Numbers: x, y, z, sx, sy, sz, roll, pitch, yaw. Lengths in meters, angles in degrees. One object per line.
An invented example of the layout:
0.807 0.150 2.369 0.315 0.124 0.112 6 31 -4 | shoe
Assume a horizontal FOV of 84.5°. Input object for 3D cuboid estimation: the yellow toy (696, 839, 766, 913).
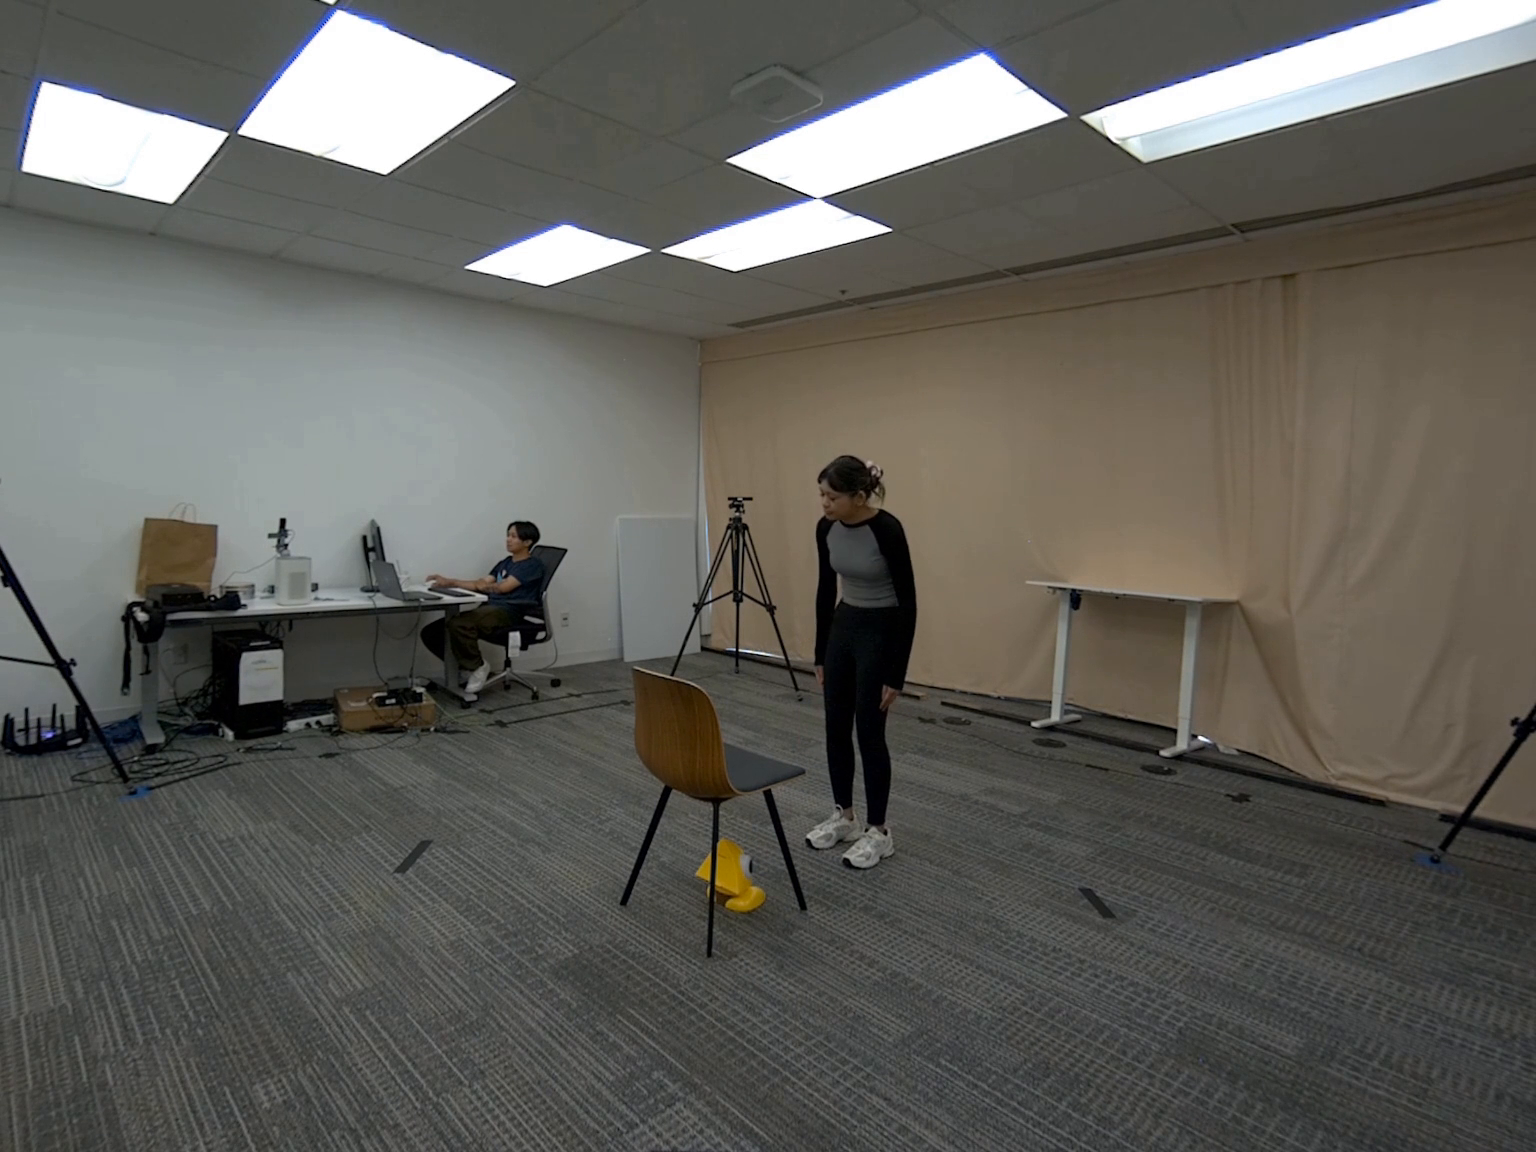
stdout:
-0.123 1.014 2.929 0.210 0.230 0.189 4 5 43 | yellow toy
